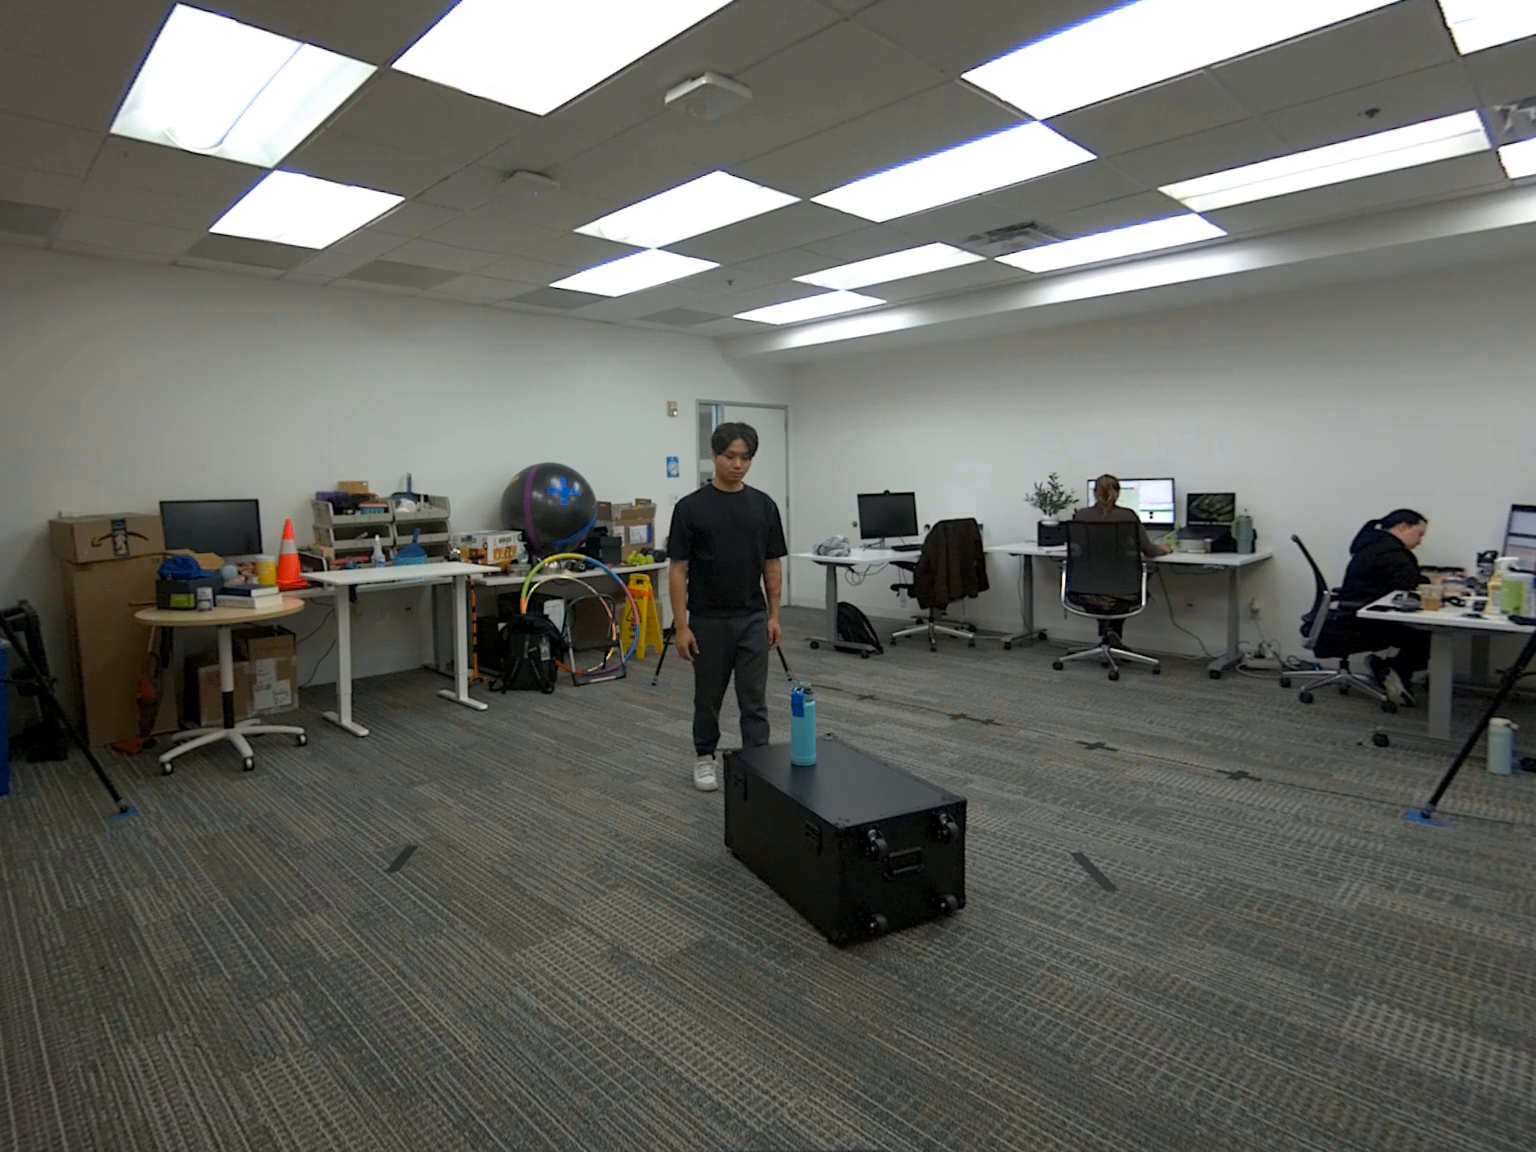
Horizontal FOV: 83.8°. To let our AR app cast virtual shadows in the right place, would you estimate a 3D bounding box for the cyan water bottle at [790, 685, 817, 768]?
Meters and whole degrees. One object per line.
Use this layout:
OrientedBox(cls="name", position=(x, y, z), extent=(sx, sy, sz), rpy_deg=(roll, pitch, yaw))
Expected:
OrientedBox(cls="cyan water bottle", position=(0.126, 0.529, 3.070), extent=(0.092, 0.282, 0.093), rpy_deg=(-2, 5, -1))
